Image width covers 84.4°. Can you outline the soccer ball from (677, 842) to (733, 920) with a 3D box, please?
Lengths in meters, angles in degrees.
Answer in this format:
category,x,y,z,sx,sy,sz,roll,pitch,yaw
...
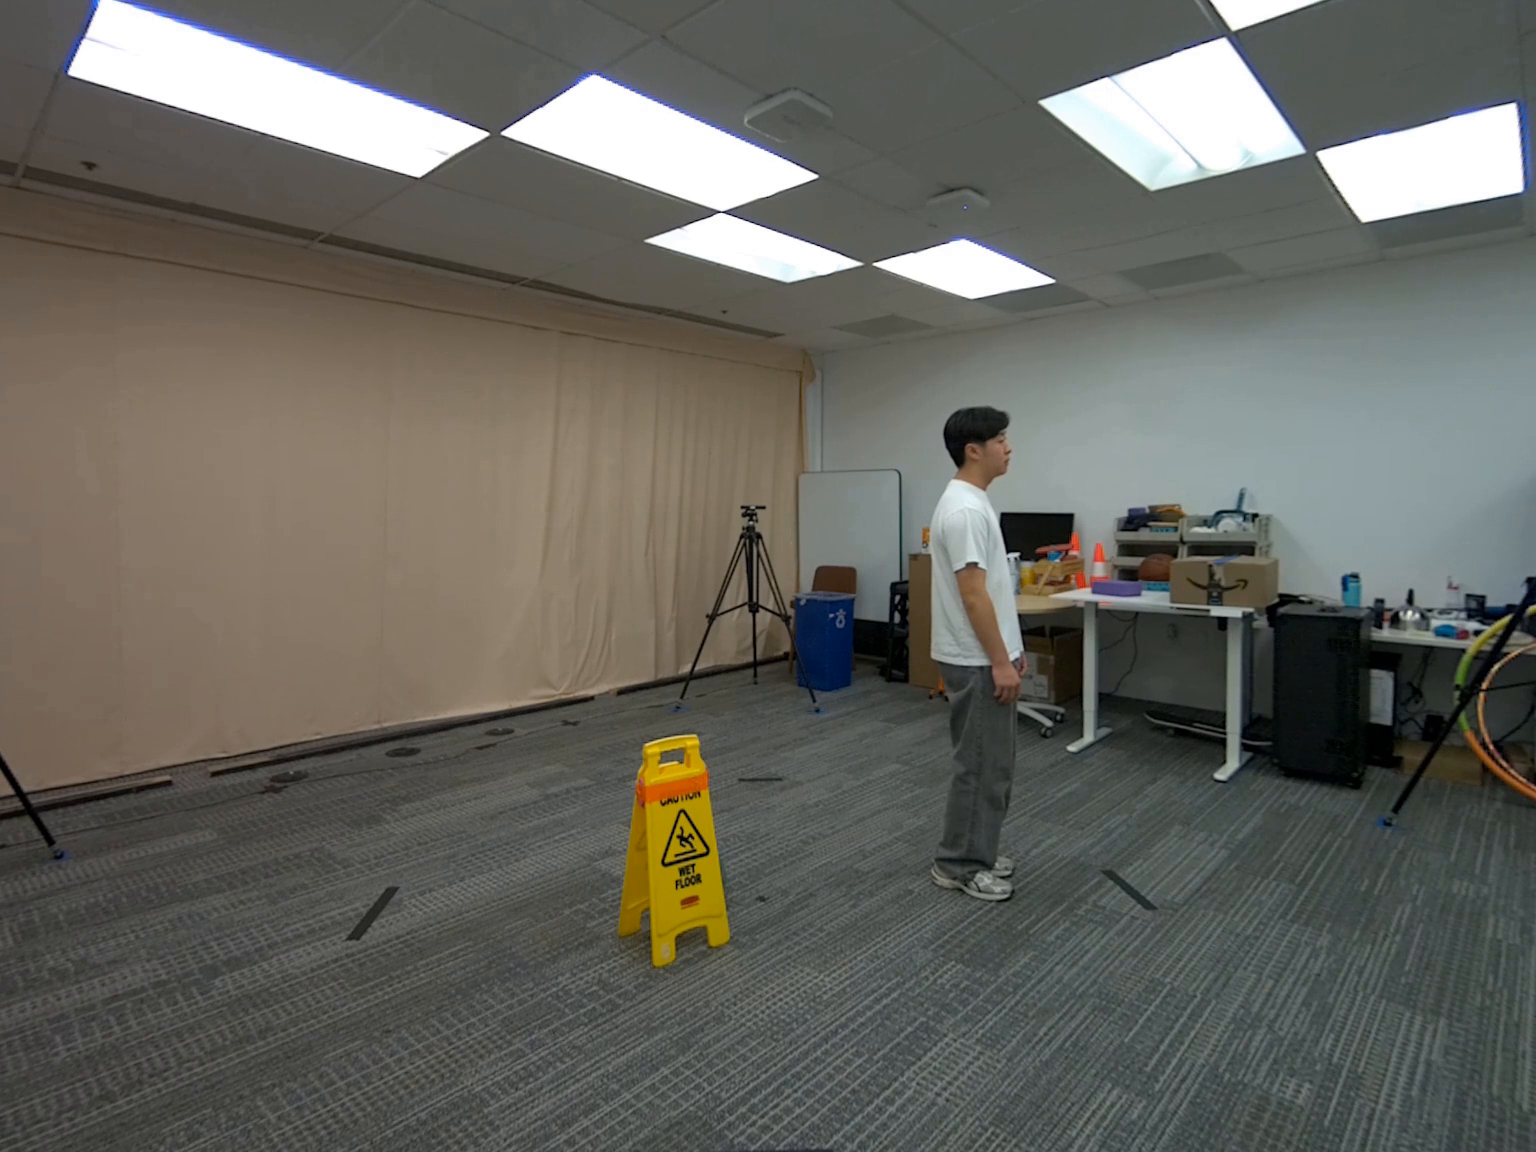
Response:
category,x,y,z,sx,sy,sz,roll,pitch,yaw
soccer ball,-0.220,1.061,2.961,0.187,0.187,0.188,0,4,-2
